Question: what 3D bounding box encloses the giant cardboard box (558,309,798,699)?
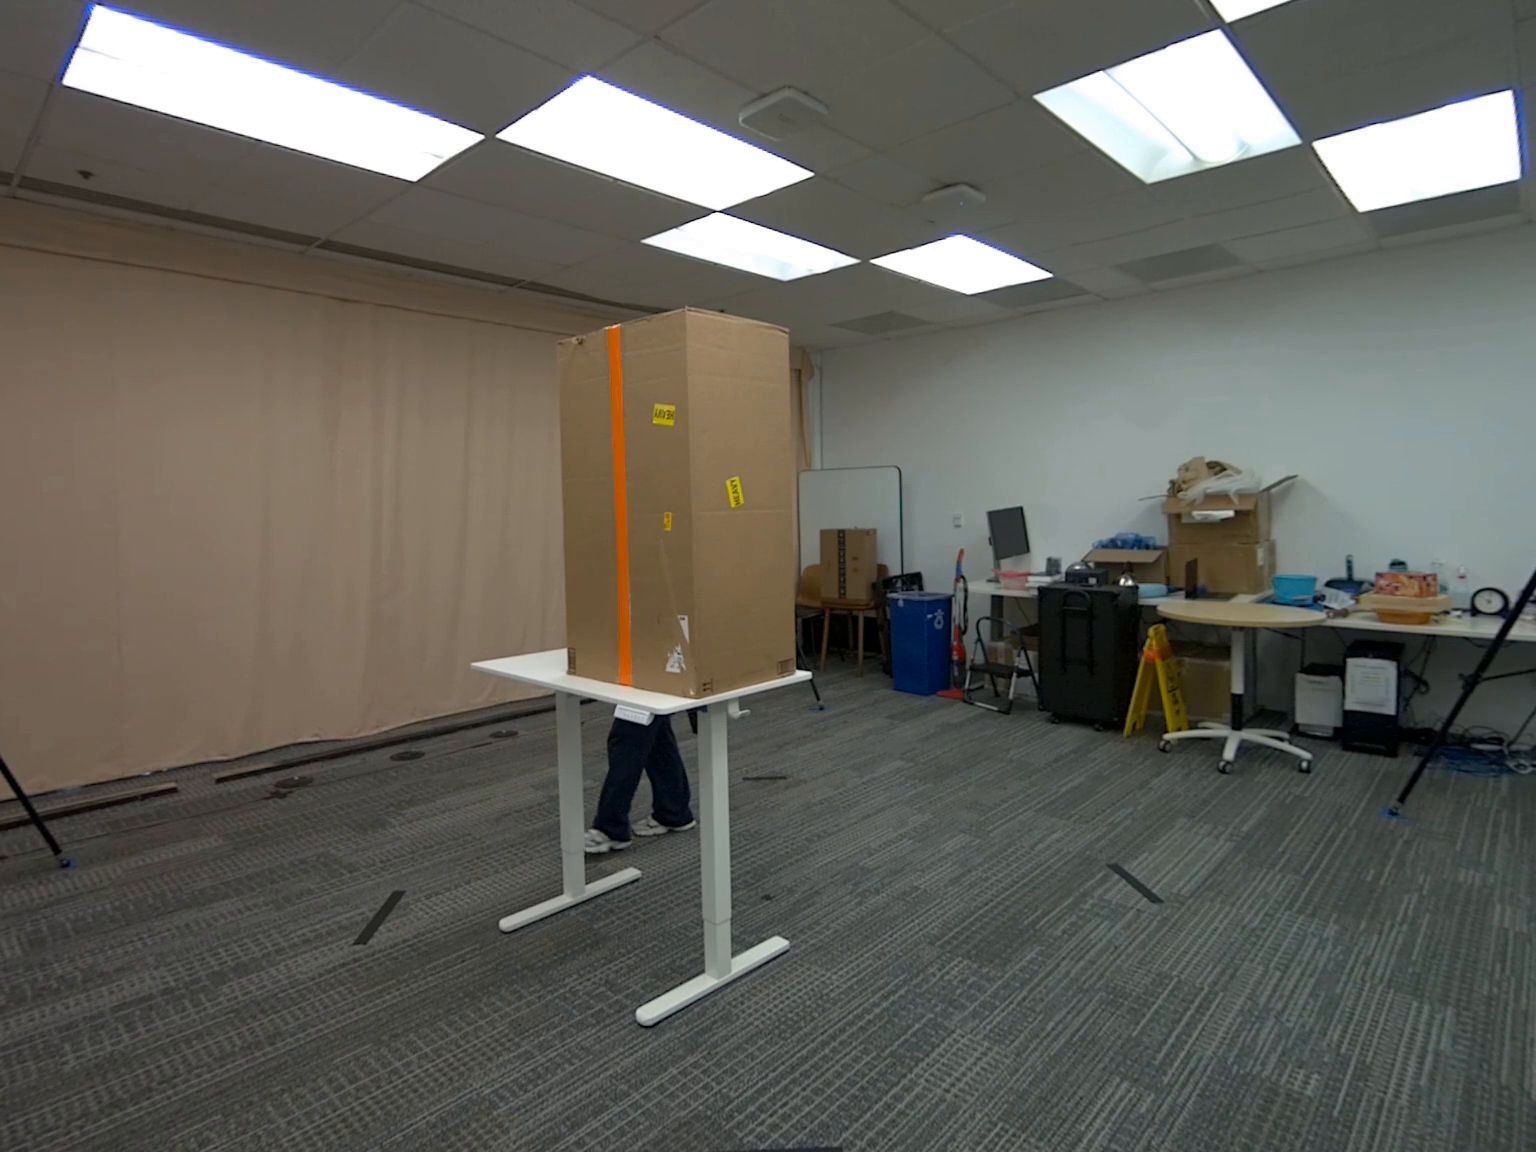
[{"bbox_3d":[-0.265,-0.206,2.534,0.596,1.024,0.413,2,4,42],"label":"giant cardboard box"}]
